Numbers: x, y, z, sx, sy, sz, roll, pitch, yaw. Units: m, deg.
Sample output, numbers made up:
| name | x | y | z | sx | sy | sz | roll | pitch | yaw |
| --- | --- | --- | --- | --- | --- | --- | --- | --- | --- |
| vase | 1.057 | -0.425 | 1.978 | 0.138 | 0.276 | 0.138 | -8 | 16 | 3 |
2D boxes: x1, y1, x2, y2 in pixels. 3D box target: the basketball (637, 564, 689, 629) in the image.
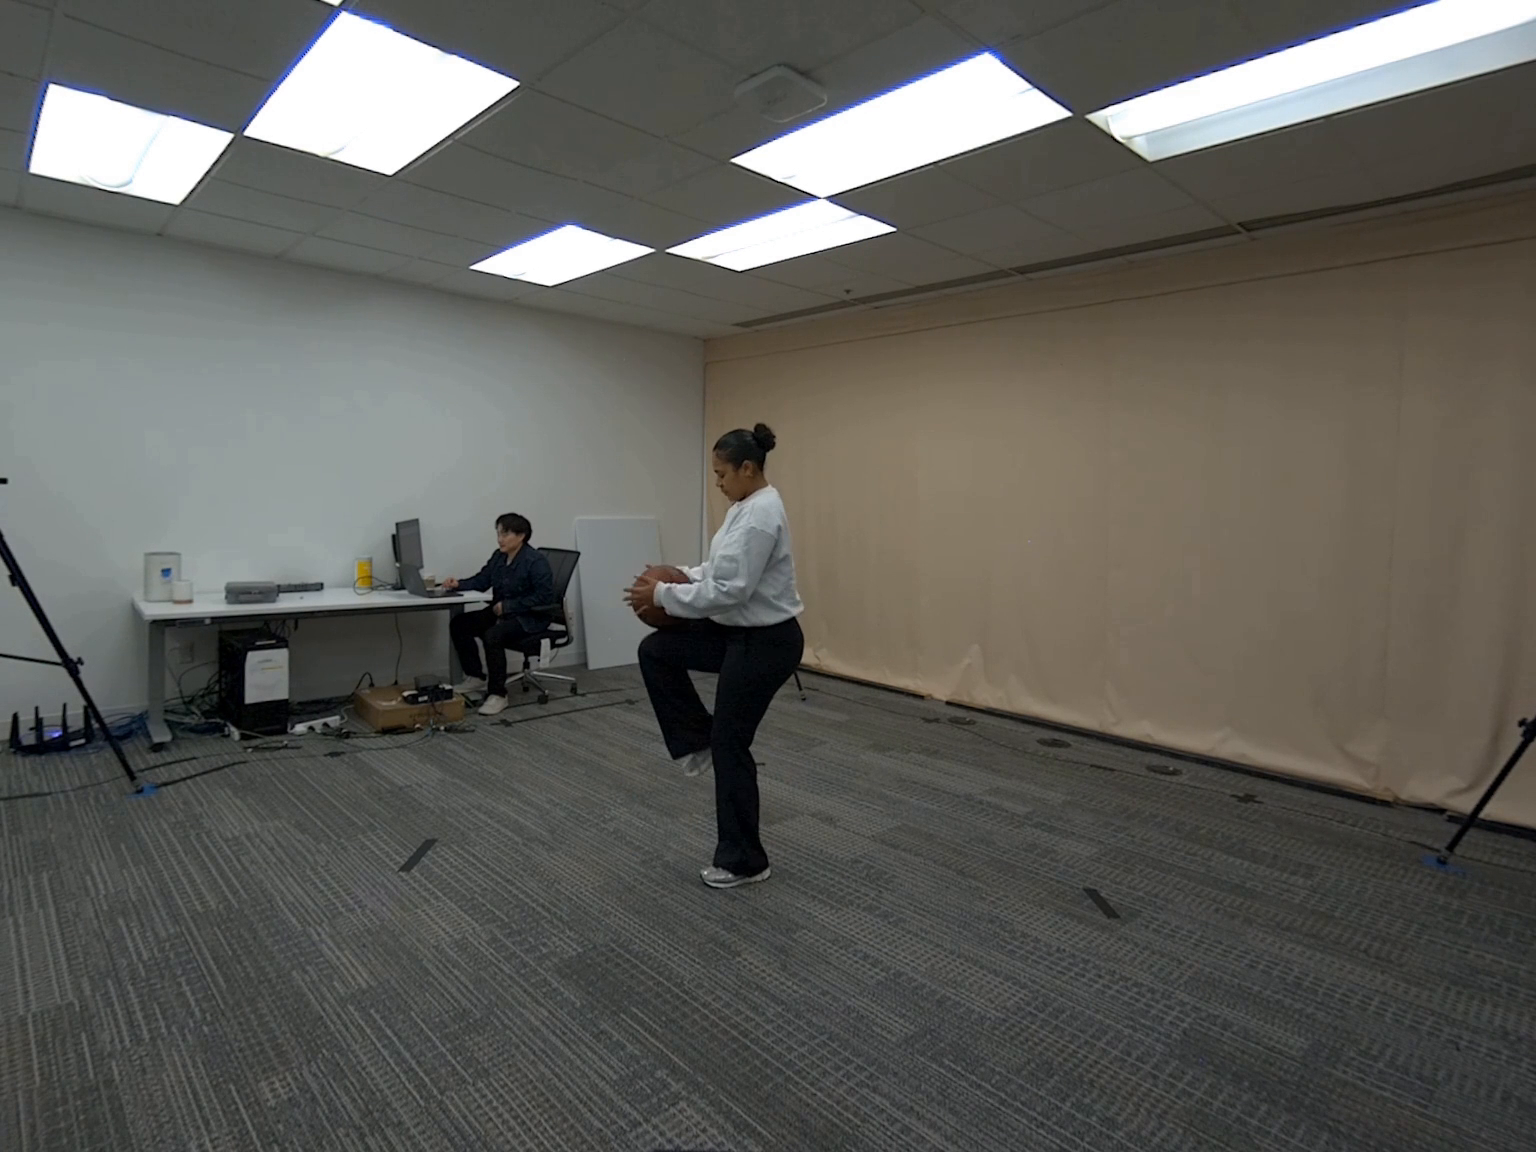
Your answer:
| name | x | y | z | sx | sy | sz | roll | pitch | yaw |
| --- | --- | --- | --- | --- | --- | --- | --- | --- | --- |
| basketball | -0.398 | 0.038 | 3.120 | 0.236 | 0.235 | 0.237 | 1 | 4 | -1 |
